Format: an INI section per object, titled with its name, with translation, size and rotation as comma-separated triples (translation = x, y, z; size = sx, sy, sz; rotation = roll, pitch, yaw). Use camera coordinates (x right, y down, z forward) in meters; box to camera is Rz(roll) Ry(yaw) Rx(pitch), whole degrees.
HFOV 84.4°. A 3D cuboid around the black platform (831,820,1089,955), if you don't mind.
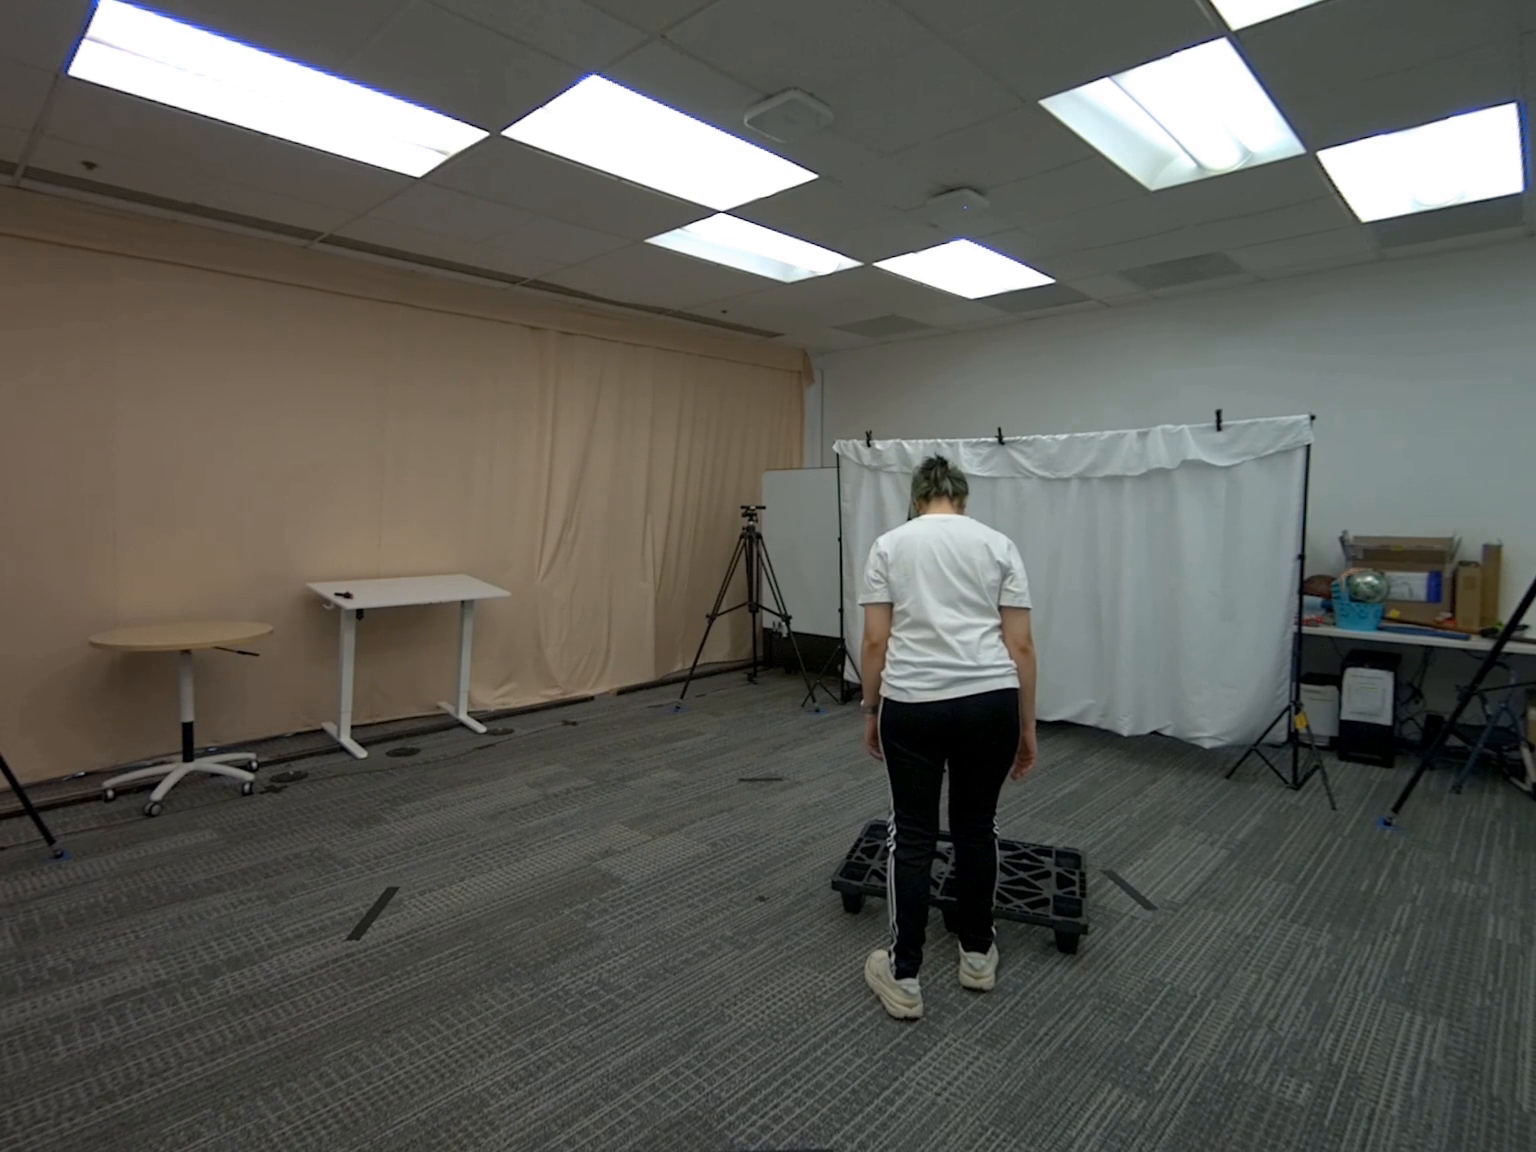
[black platform]
translation = 0.685, 1.074, 2.955
size = 0.824, 0.143, 0.593
rotation = 2, 4, 21
